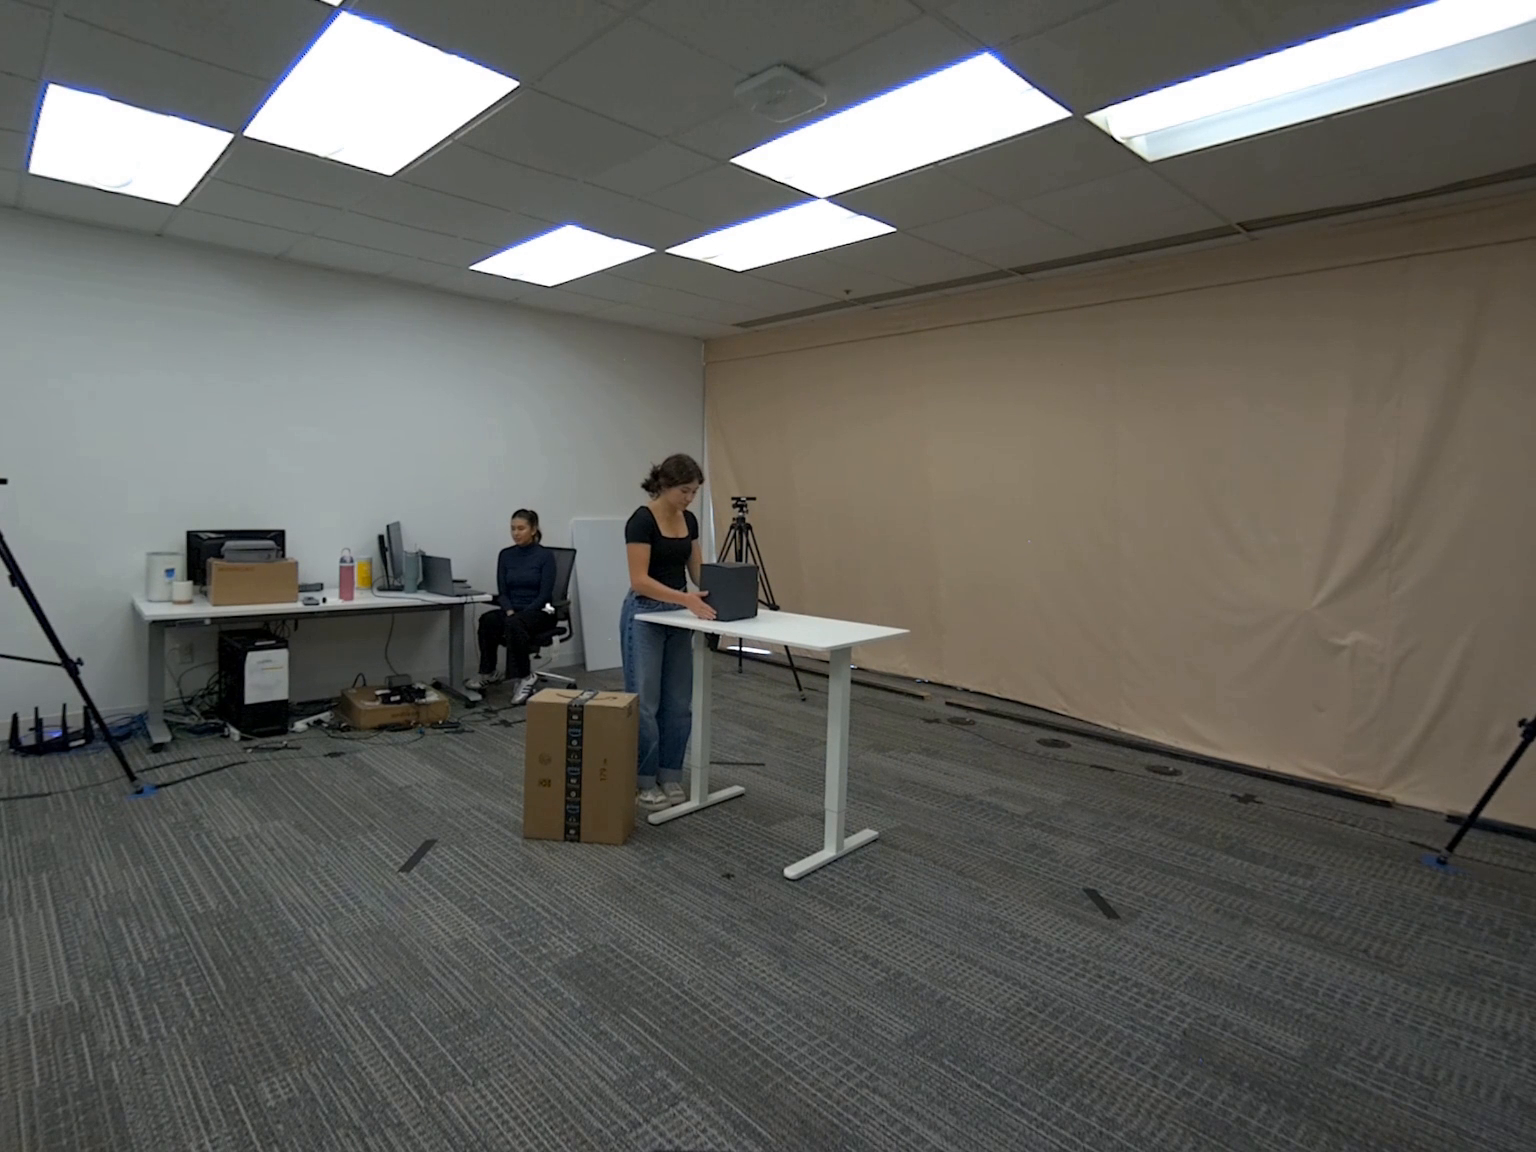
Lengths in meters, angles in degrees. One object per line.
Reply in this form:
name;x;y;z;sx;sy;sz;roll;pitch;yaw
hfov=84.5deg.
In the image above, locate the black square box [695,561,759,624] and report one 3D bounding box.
black square box;-0.174;0.063;3.588;0.160;0.227;0.212;7;6;35
